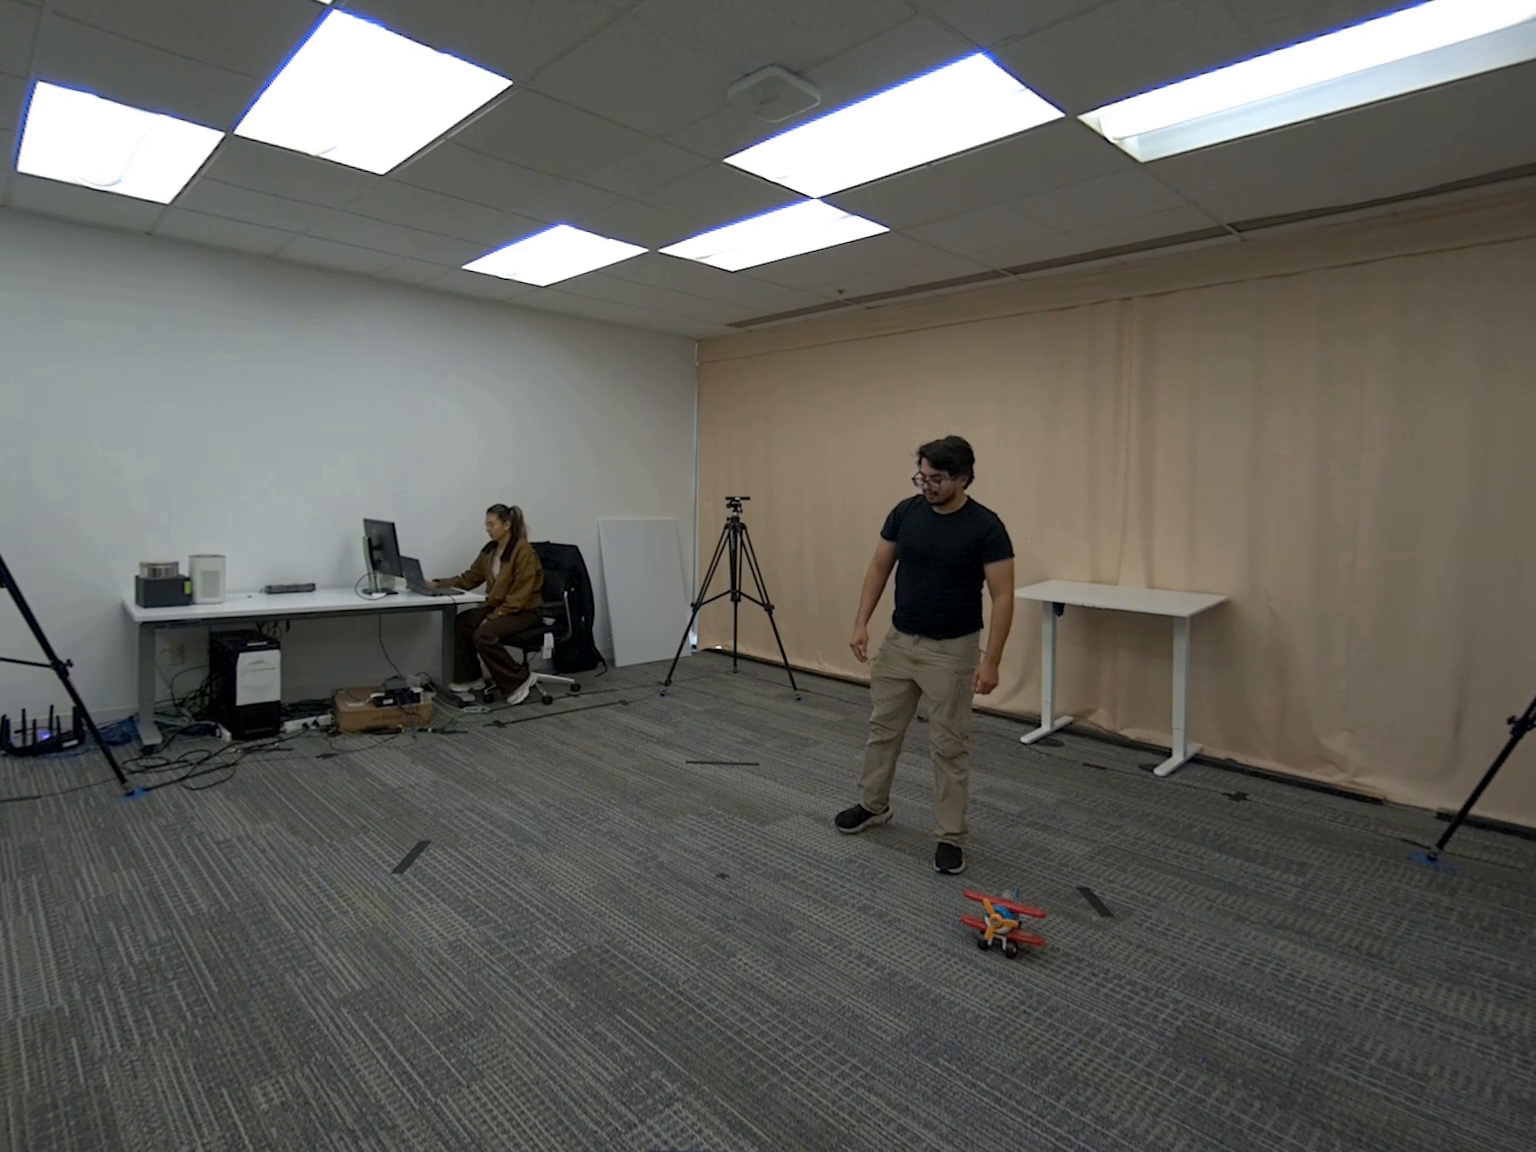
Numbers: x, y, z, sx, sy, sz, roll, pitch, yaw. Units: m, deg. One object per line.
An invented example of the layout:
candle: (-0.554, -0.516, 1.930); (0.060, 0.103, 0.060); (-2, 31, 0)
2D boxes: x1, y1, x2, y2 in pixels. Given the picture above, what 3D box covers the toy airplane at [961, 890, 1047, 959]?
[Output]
toy airplane: (0.732, 1.094, 2.692); (0.252, 0.156, 0.259); (2, 6, 4)
